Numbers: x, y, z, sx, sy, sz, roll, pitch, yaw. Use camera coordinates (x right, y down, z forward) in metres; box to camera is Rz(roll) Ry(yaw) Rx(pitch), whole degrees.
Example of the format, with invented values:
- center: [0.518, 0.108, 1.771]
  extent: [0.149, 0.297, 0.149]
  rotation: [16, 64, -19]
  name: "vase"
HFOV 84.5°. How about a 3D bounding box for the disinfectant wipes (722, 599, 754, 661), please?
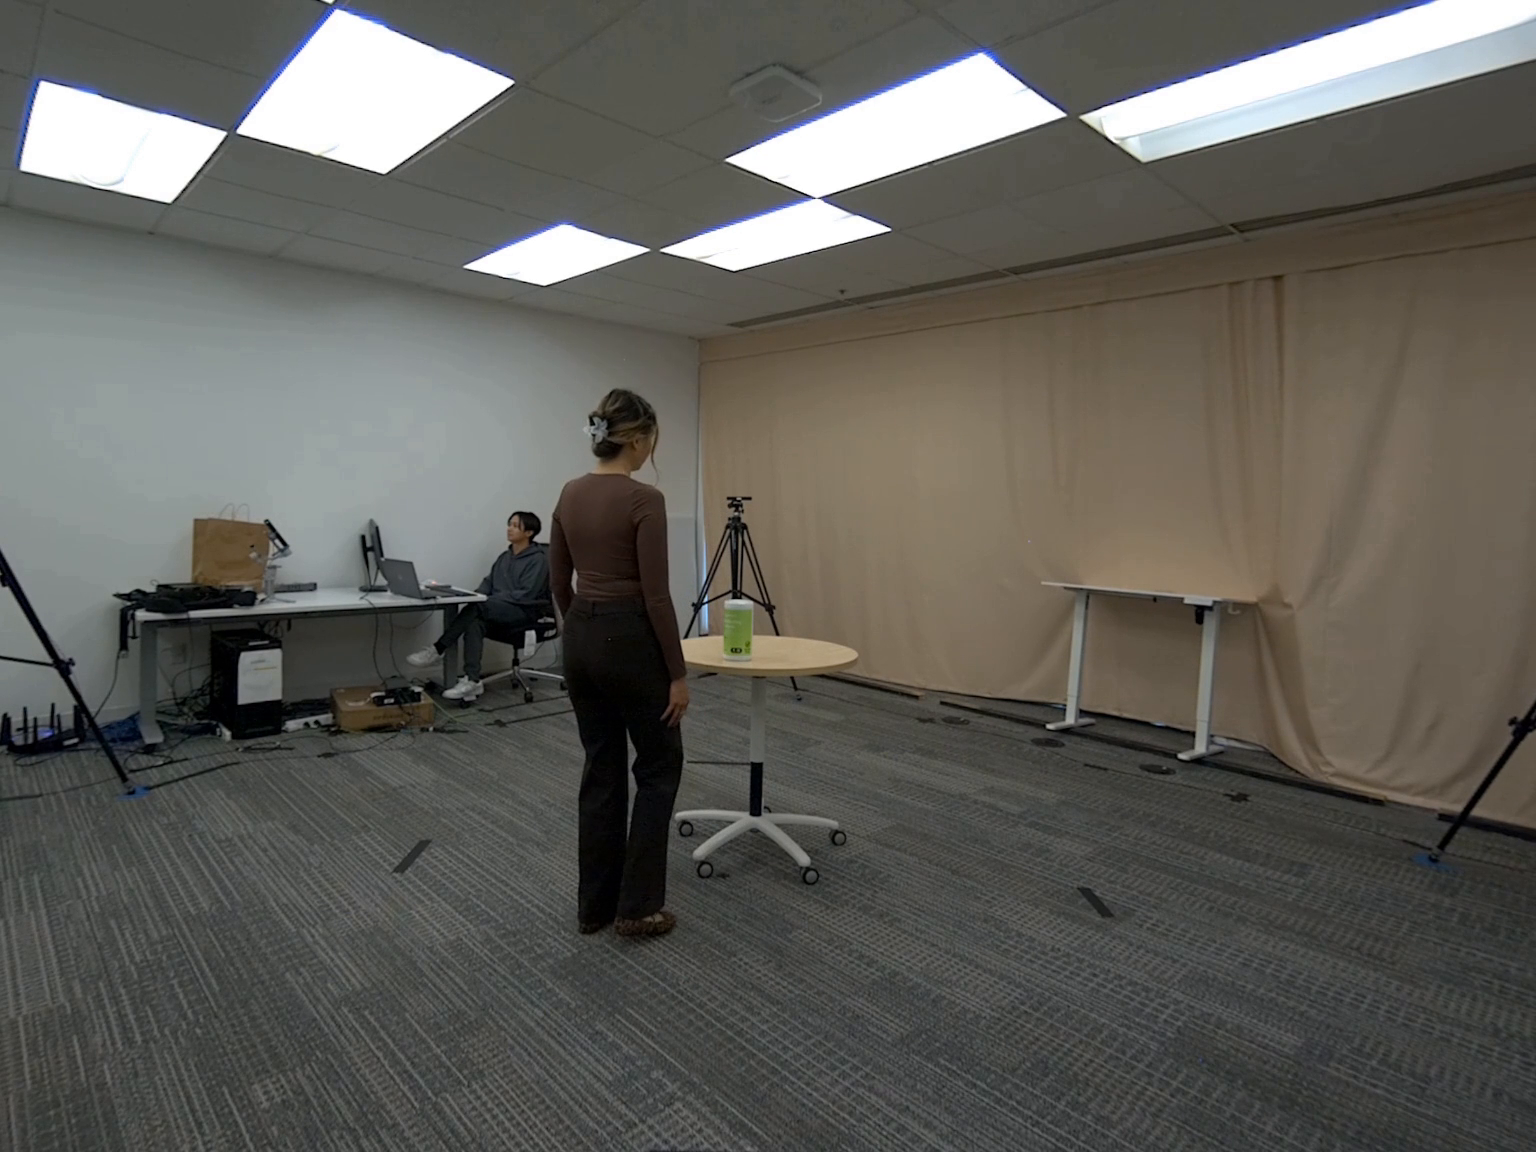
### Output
- center: [-0.109, 0.200, 3.103]
  extent: [0.118, 0.217, 0.118]
  rotation: [1, 4, -1]
  name: "disinfectant wipes"
